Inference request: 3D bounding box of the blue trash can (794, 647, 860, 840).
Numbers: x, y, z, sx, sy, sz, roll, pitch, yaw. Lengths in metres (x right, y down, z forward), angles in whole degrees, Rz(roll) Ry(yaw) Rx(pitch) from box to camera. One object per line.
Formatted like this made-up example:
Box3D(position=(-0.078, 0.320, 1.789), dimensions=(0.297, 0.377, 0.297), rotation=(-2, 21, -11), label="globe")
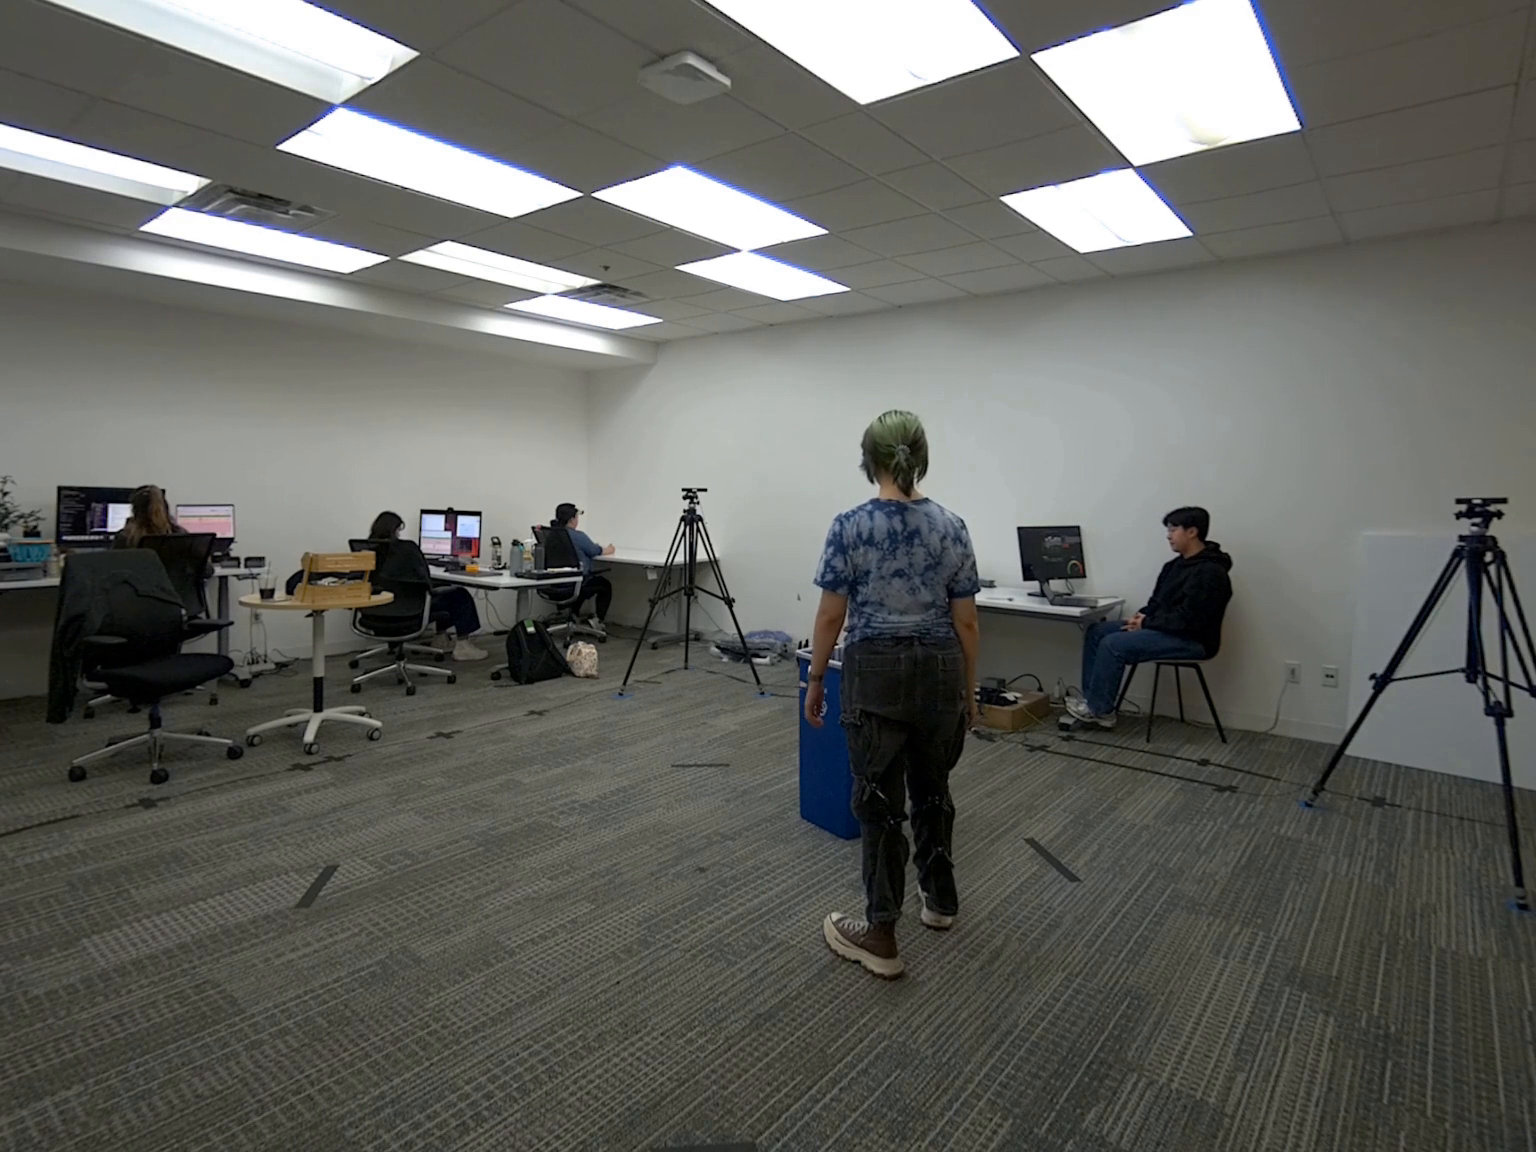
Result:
Box3D(position=(0.352, 0.677, 3.570), dimensions=(0.367, 0.711, 0.386), rotation=(-1, 4, -37), label="blue trash can")
